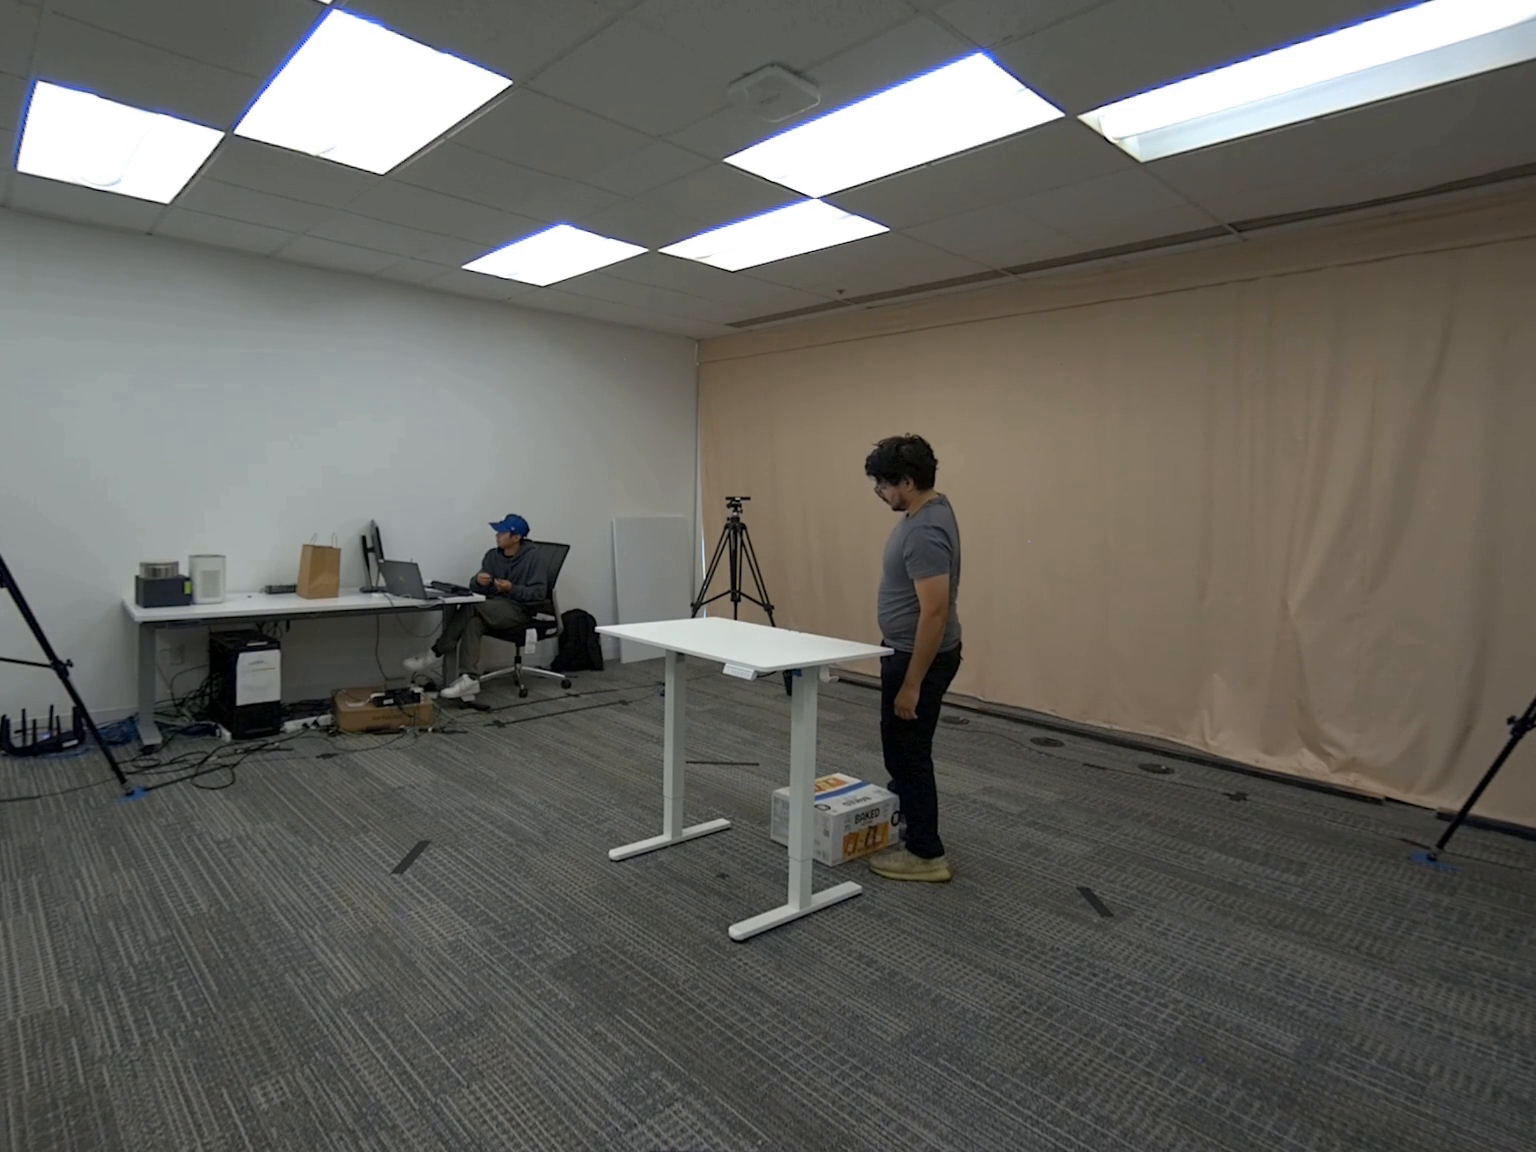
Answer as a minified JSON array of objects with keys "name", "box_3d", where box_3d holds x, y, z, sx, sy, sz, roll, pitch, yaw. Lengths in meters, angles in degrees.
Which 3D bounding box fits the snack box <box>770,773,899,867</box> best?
[{"name":"snack box","box_3d":[0.264,0.986,3.436,0.396,0.205,0.349,-2,5,-42]}]
